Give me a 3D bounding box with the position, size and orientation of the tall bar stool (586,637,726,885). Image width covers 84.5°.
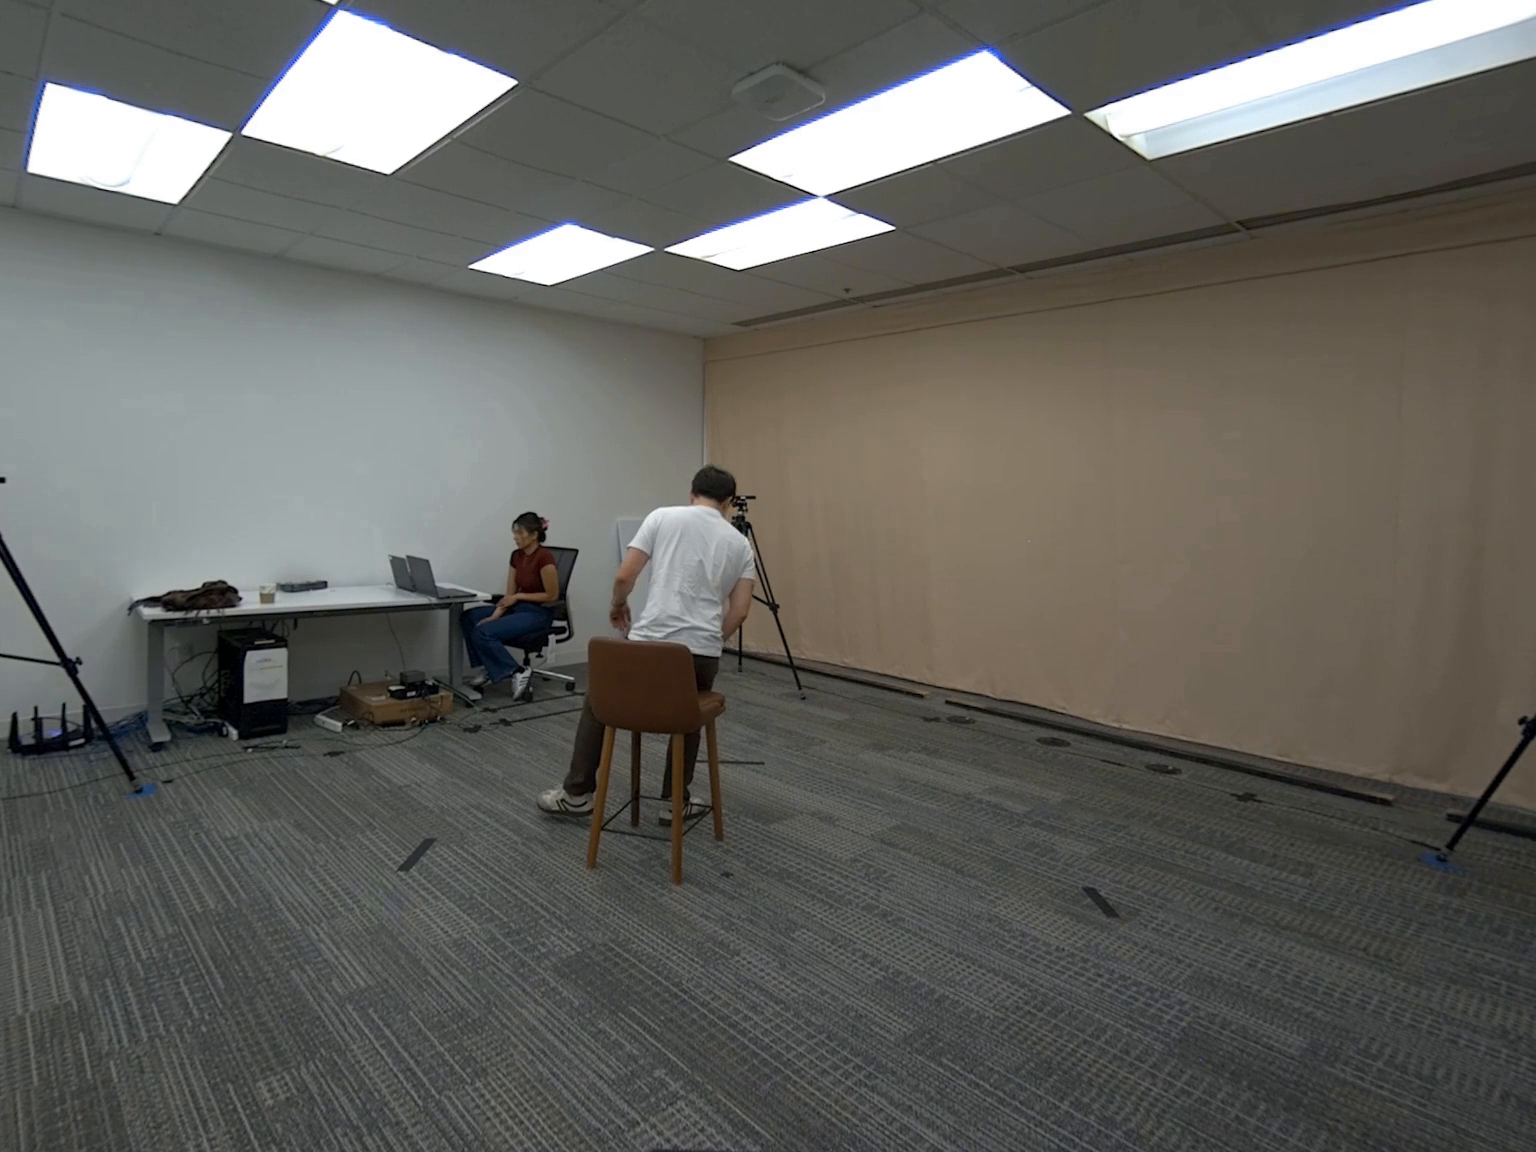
[{"bbox_3d":[-0.435,0.651,3.252,0.464,0.887,0.462,2,5,19],"label":"tall bar stool"}]
